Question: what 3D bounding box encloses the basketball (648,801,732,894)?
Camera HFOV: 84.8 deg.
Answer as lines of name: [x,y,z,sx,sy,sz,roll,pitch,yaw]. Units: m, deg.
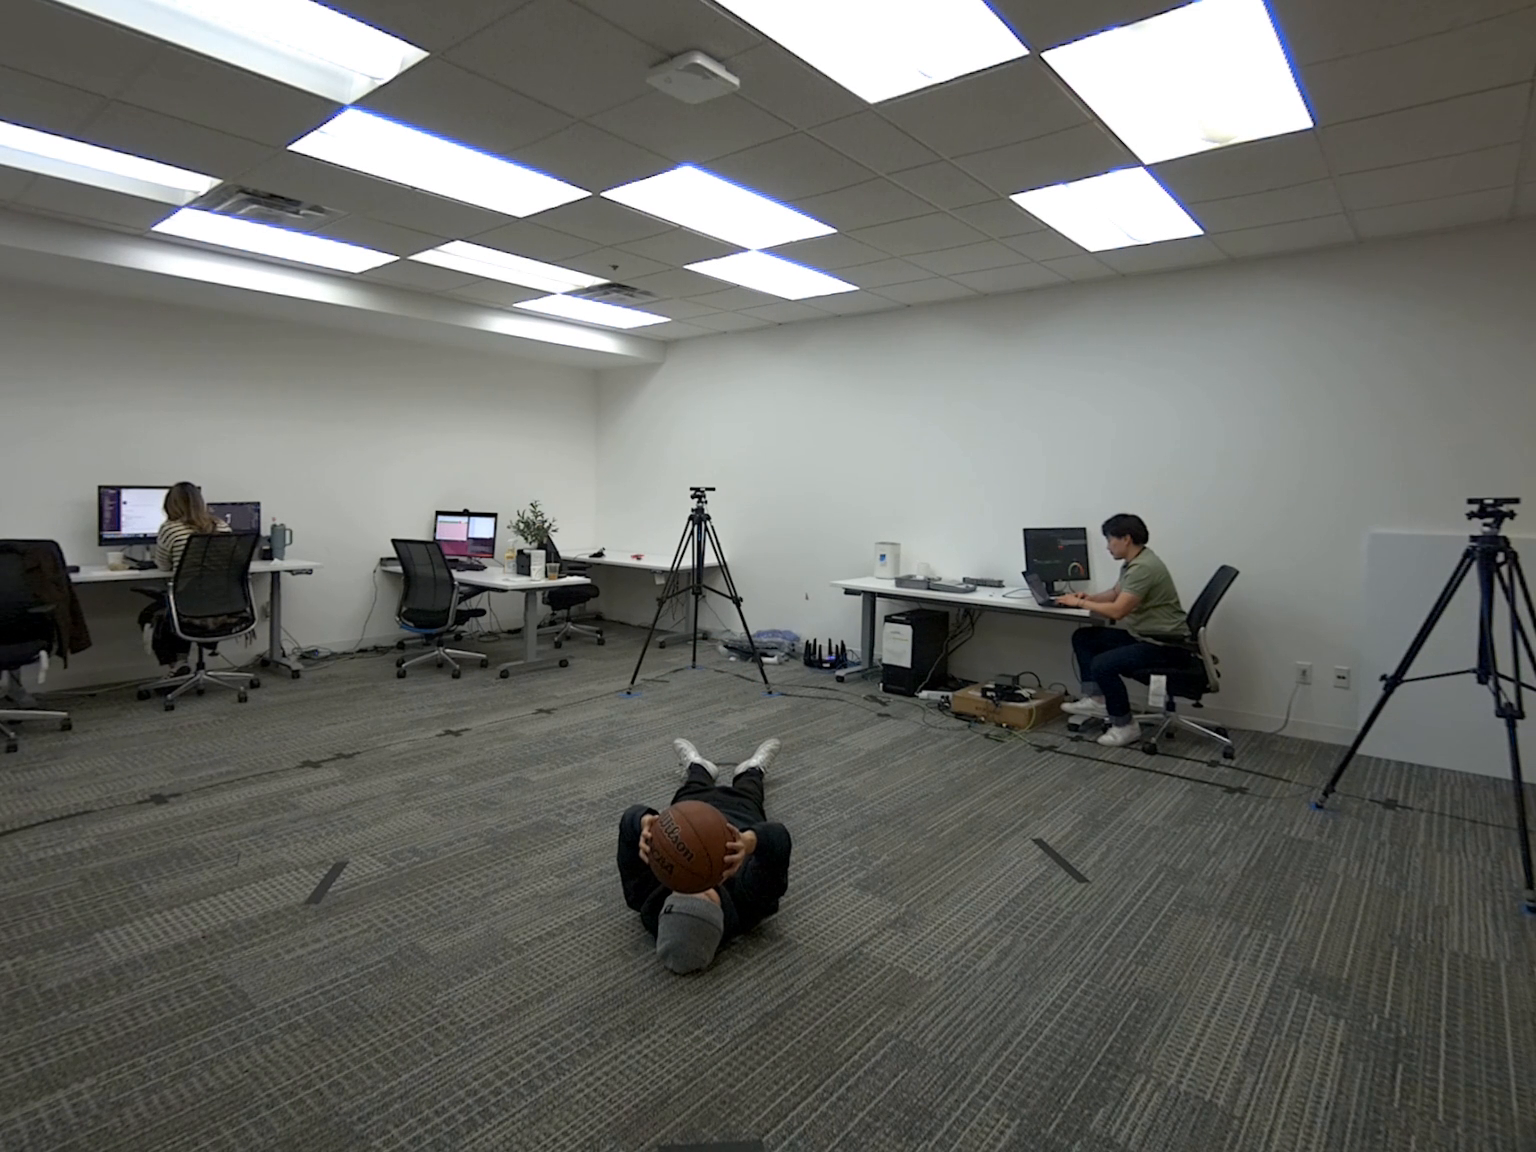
basketball: [-0.222,0.731,2.312,0.235,0.235,0.237,1,4,-2]
